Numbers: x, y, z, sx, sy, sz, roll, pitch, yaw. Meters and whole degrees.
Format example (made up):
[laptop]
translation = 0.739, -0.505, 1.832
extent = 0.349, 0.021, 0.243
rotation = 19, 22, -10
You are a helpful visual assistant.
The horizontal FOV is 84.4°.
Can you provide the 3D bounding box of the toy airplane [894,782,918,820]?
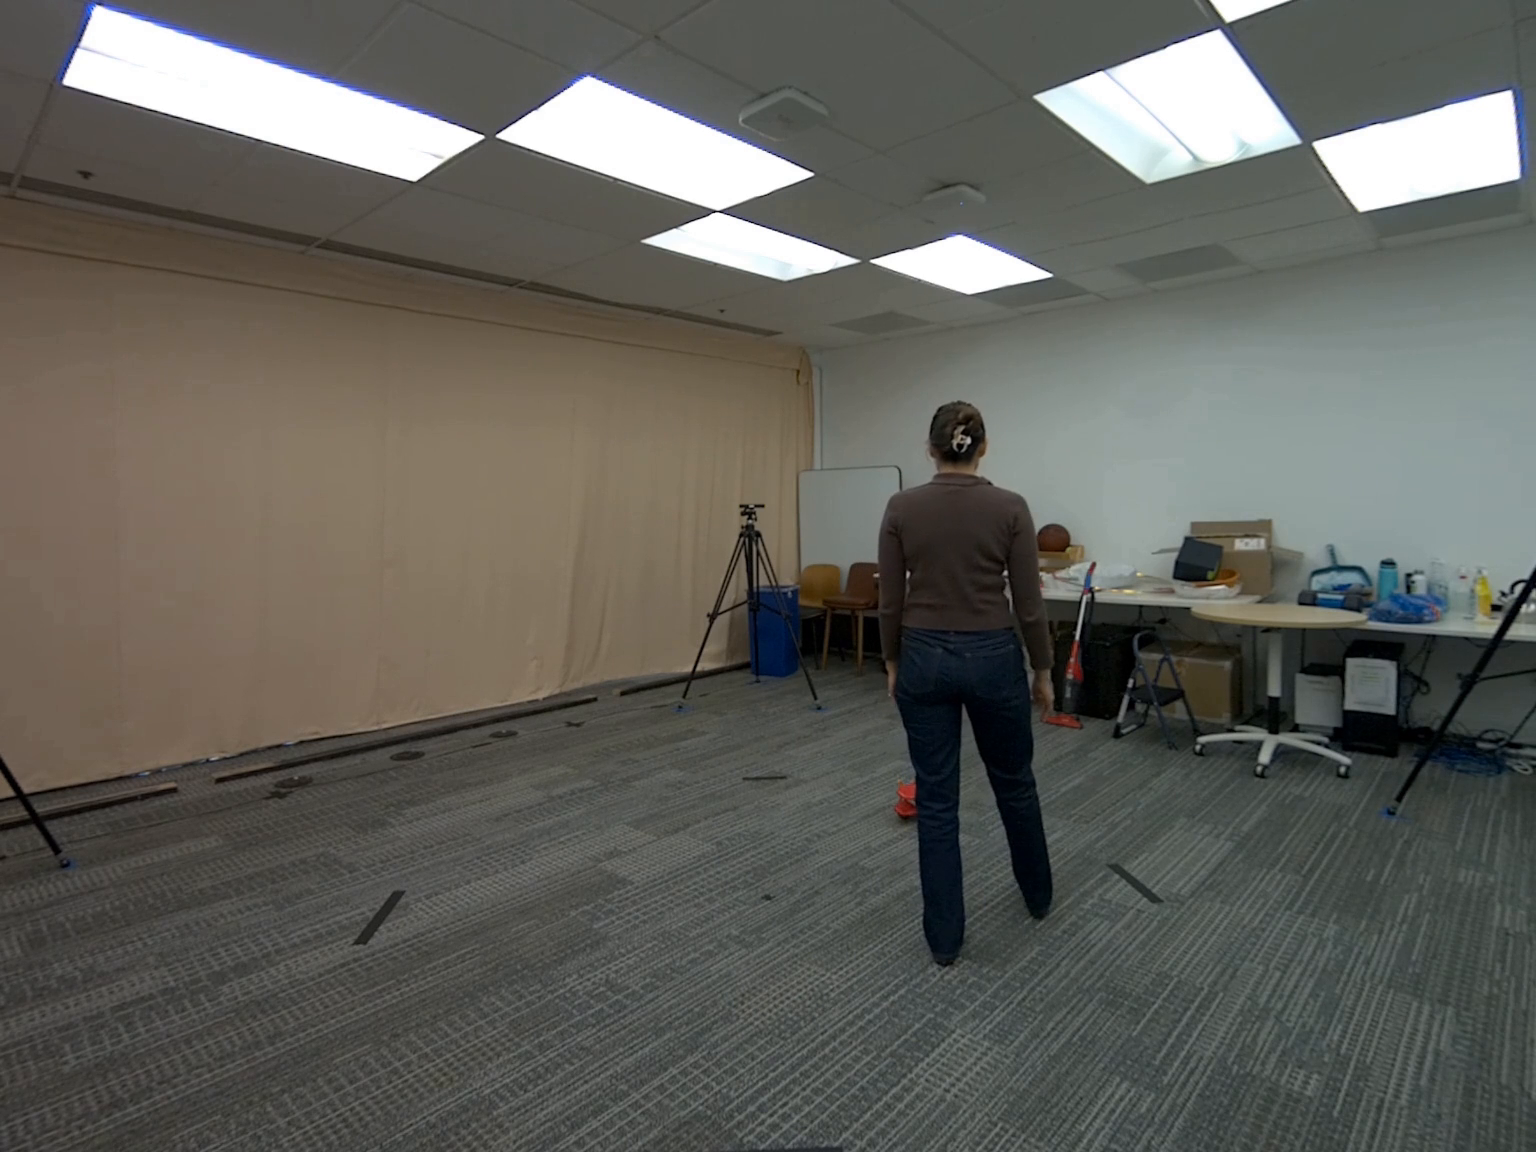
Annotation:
[toy airplane]
translation = 0.700, 0.995, 3.687
extent = 0.266, 0.156, 0.245
rotation = 0, 4, 24
